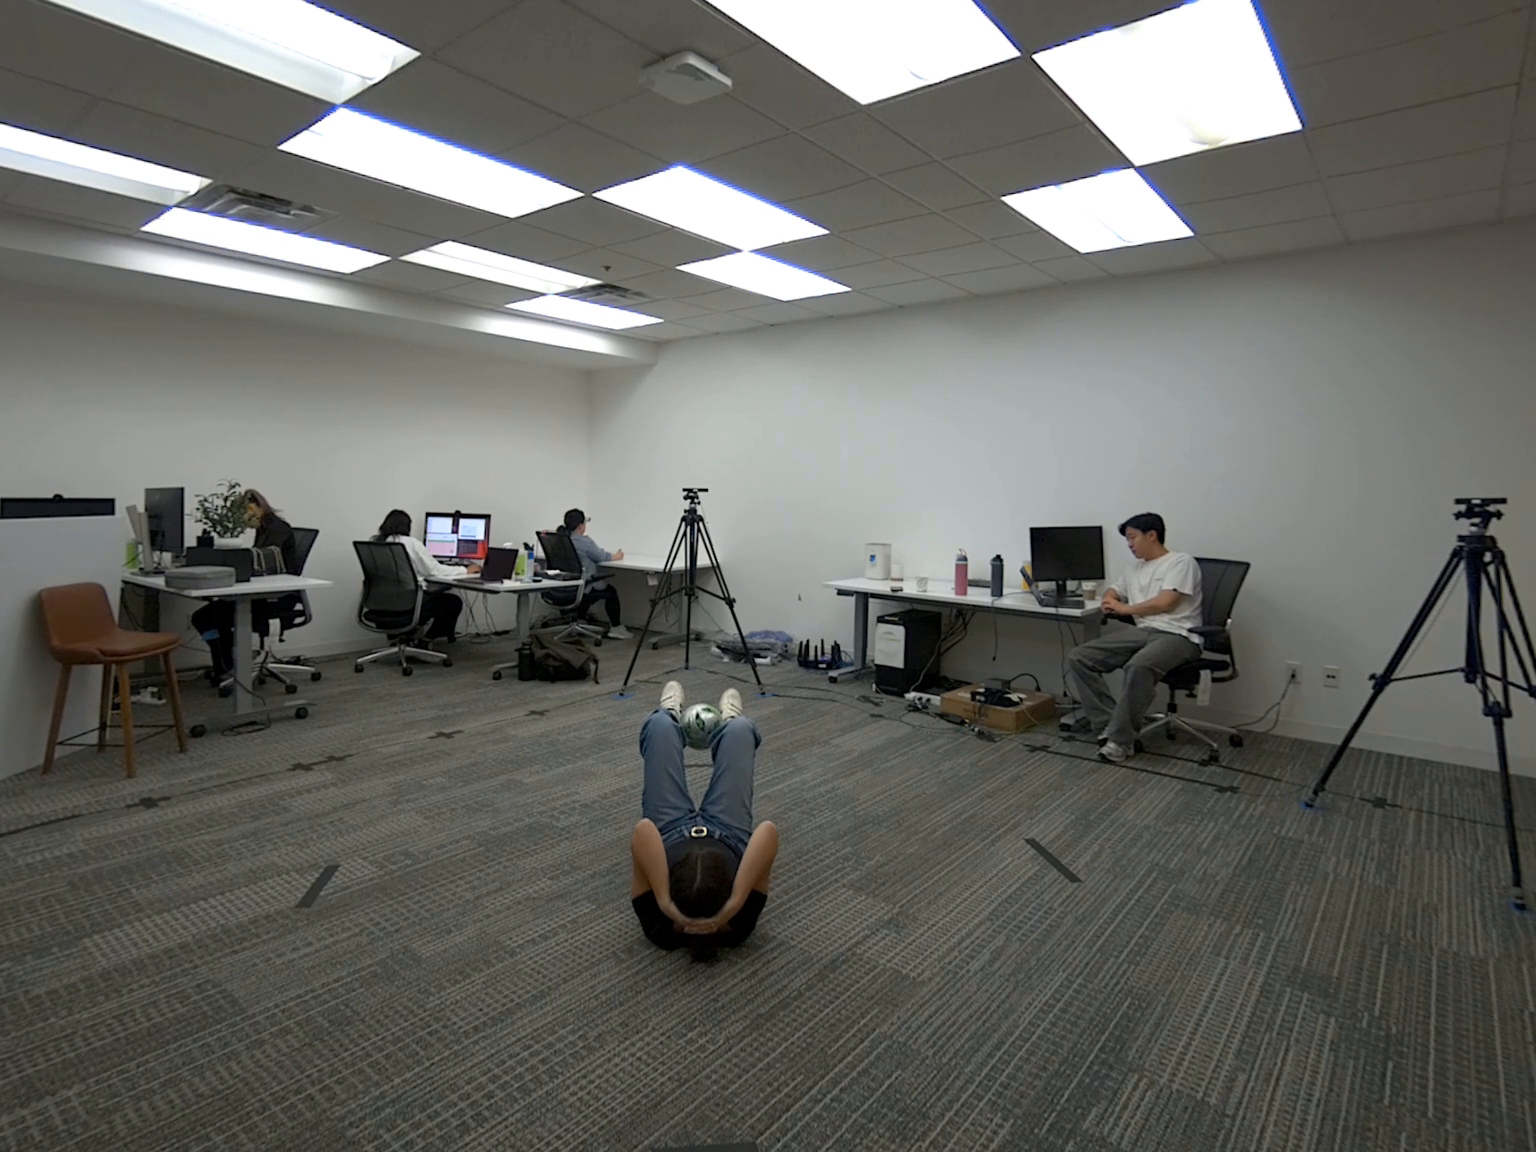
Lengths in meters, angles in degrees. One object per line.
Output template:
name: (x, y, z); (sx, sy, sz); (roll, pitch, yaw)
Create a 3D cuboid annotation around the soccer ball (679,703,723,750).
soccer ball: (-0.279, 0.609, 3.484); (0.187, 0.187, 0.188); (-3, 4, -2)
